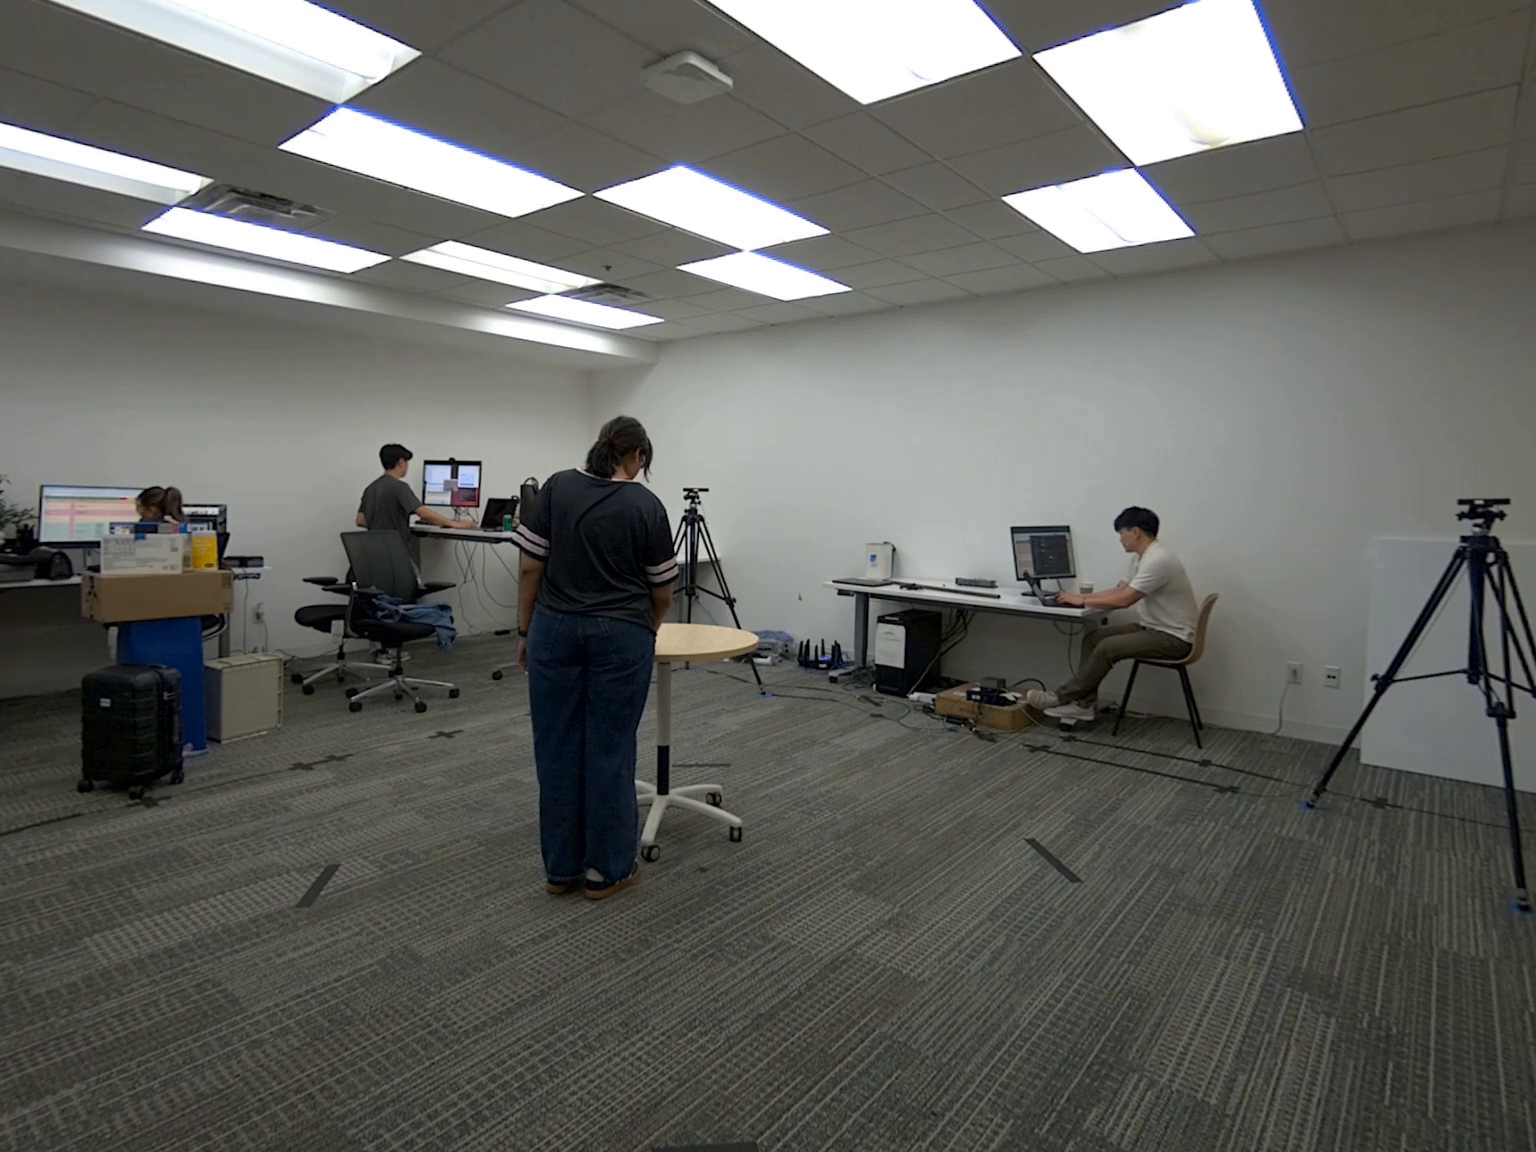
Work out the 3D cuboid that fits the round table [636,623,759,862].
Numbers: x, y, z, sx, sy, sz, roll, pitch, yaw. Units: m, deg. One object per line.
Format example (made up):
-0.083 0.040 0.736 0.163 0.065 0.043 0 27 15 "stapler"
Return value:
-0.447 0.637 3.483 0.784 0.784 0.789 1 4 -2 "round table"
